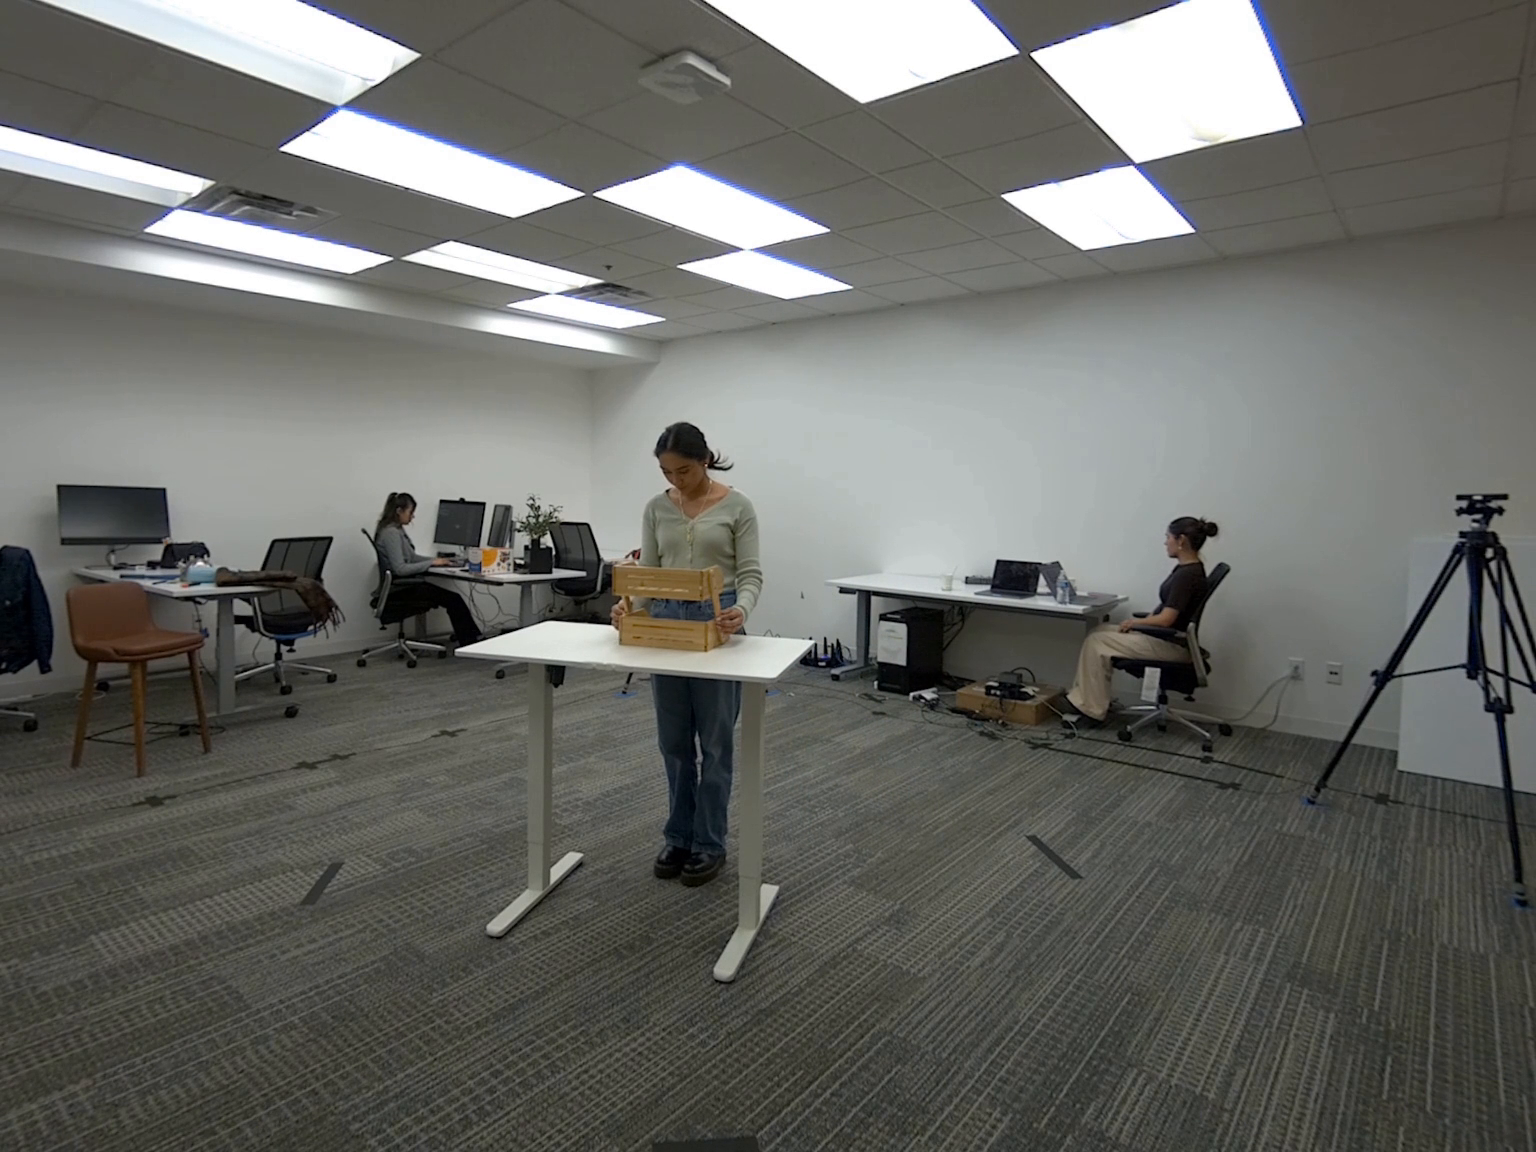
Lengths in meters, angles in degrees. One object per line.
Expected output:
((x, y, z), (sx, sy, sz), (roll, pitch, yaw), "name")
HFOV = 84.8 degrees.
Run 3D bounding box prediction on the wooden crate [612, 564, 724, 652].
((-0.321, 0.083, 2.766), (0.331, 0.272, 0.298), (2, 6, 17), "wooden crate")
